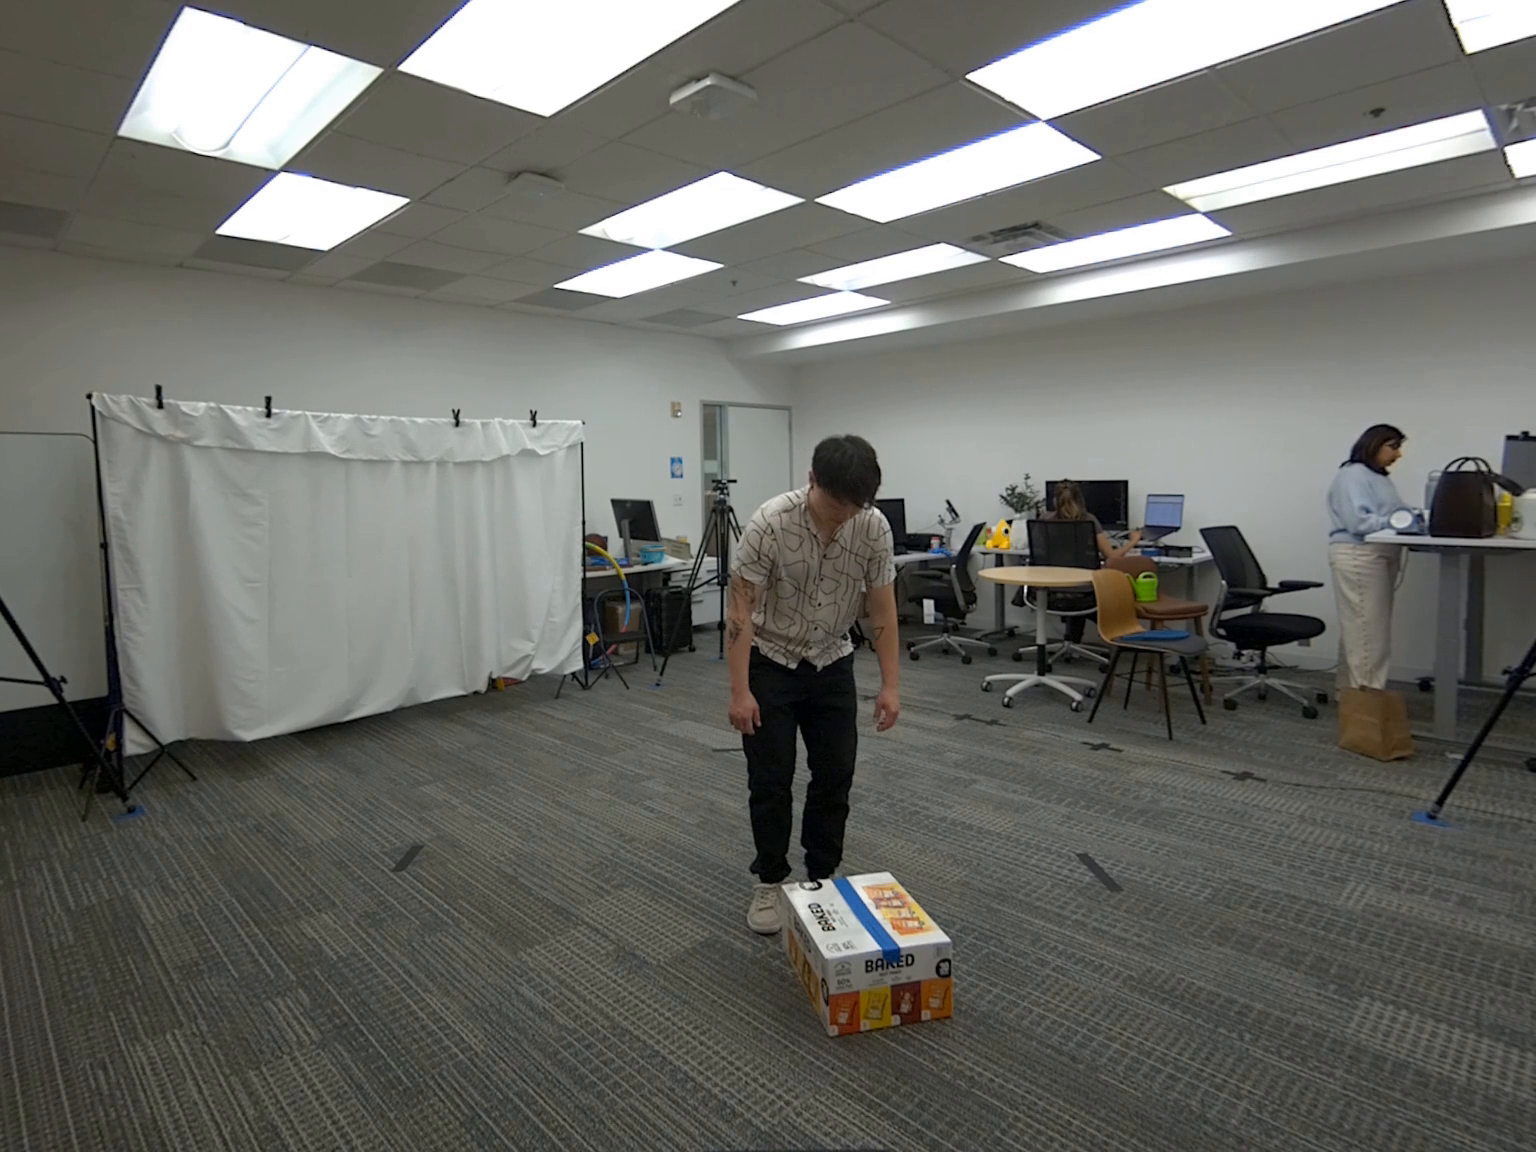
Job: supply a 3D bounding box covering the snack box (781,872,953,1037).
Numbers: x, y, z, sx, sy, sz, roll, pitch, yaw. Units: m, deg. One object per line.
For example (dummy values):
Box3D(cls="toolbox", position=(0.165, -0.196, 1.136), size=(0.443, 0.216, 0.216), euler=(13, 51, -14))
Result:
Box3D(cls="snack box", position=(0.264, 1.028, 2.357), size=(0.336, 0.205, 0.412), euler=(-2, 6, -14))
